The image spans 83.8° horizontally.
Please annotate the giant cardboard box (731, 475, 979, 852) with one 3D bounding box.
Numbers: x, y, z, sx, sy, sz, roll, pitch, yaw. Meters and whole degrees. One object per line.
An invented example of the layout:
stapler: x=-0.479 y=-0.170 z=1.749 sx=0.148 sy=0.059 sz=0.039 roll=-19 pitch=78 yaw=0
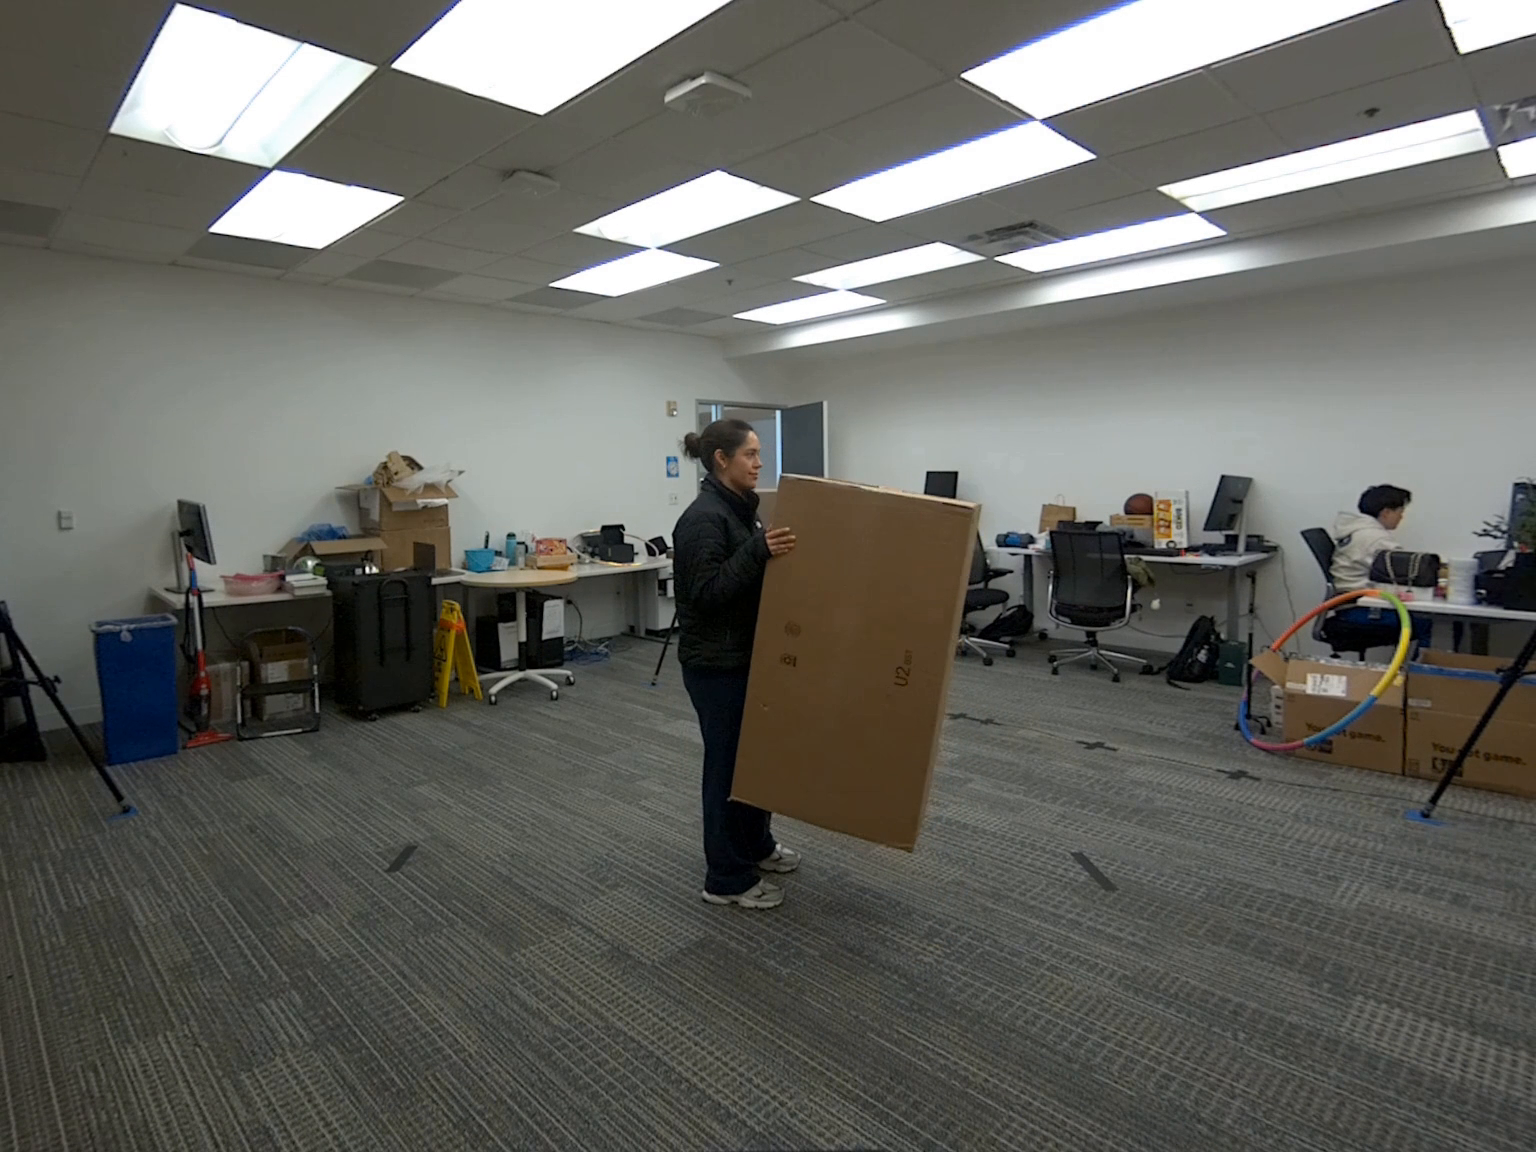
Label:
giant cardboard box: x=0.287 y=0.229 z=2.720 sx=0.589 sy=1.021 sz=0.420 roll=10 pitch=7 yaw=18
